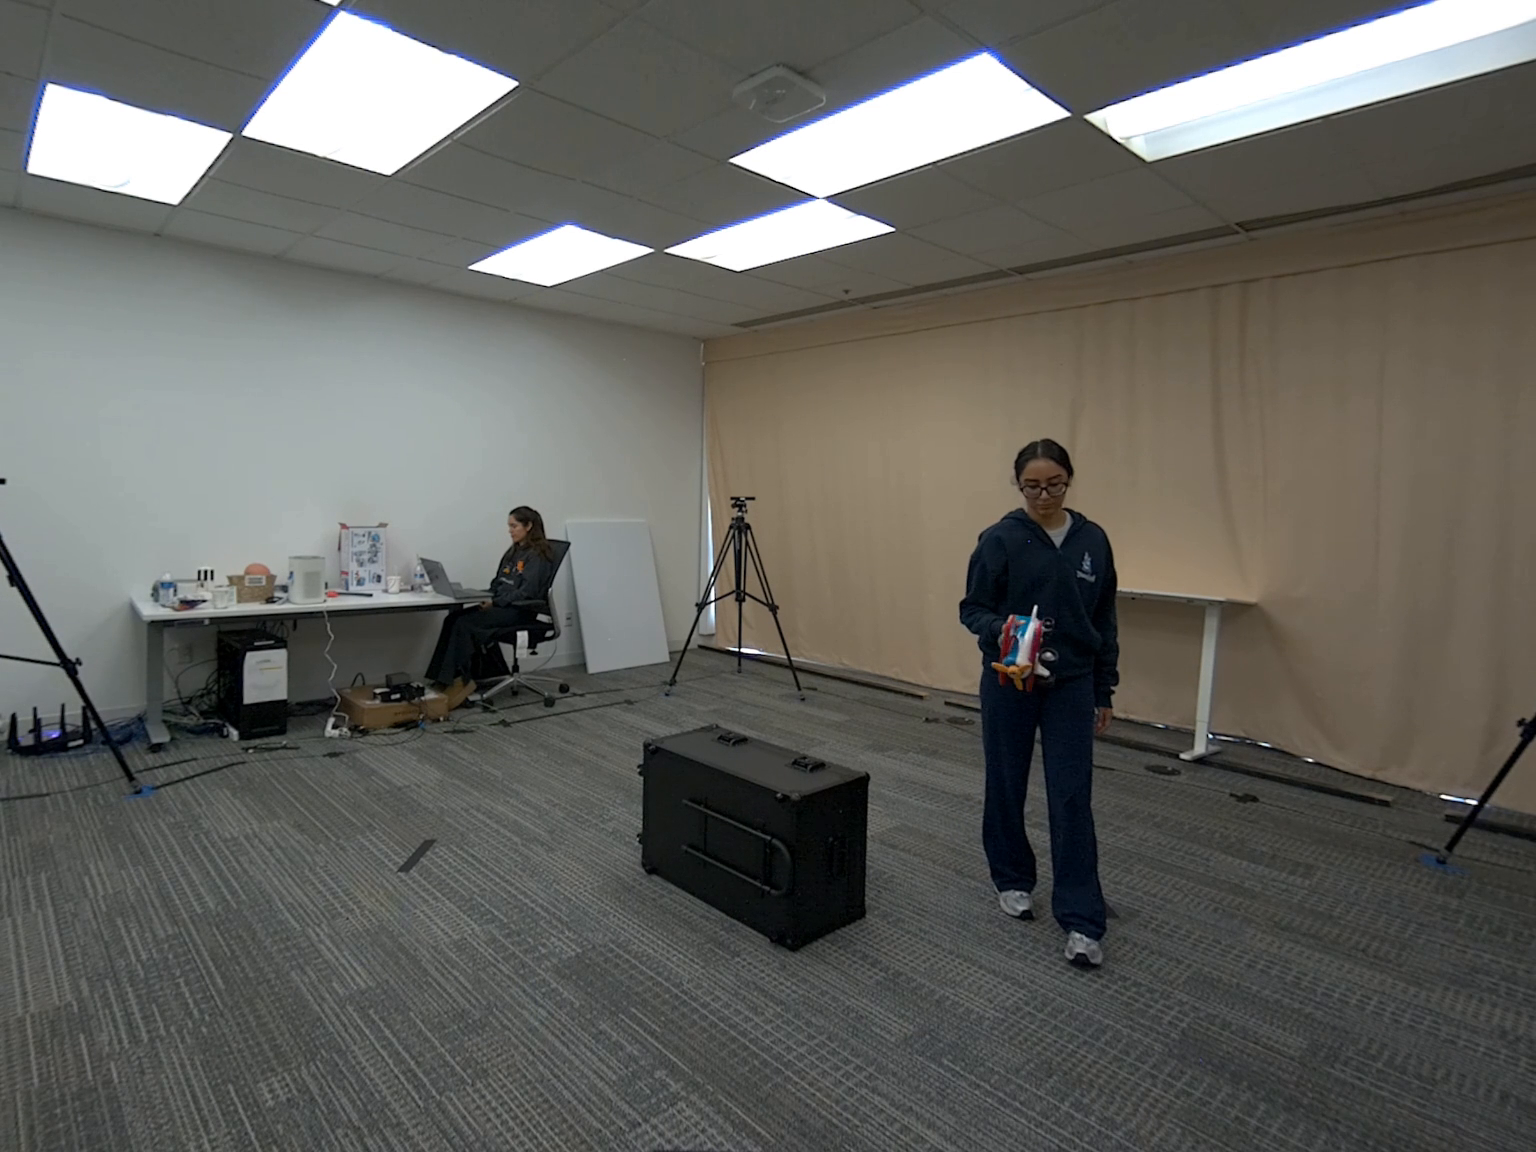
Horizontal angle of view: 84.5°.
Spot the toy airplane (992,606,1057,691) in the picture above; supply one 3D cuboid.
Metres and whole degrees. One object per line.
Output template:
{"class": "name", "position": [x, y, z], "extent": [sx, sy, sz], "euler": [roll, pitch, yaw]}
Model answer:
{"class": "toy airplane", "position": [0.773, 0.225, 2.542], "extent": [0.158, 0.249, 0.258], "euler": [3, 11, 14]}
